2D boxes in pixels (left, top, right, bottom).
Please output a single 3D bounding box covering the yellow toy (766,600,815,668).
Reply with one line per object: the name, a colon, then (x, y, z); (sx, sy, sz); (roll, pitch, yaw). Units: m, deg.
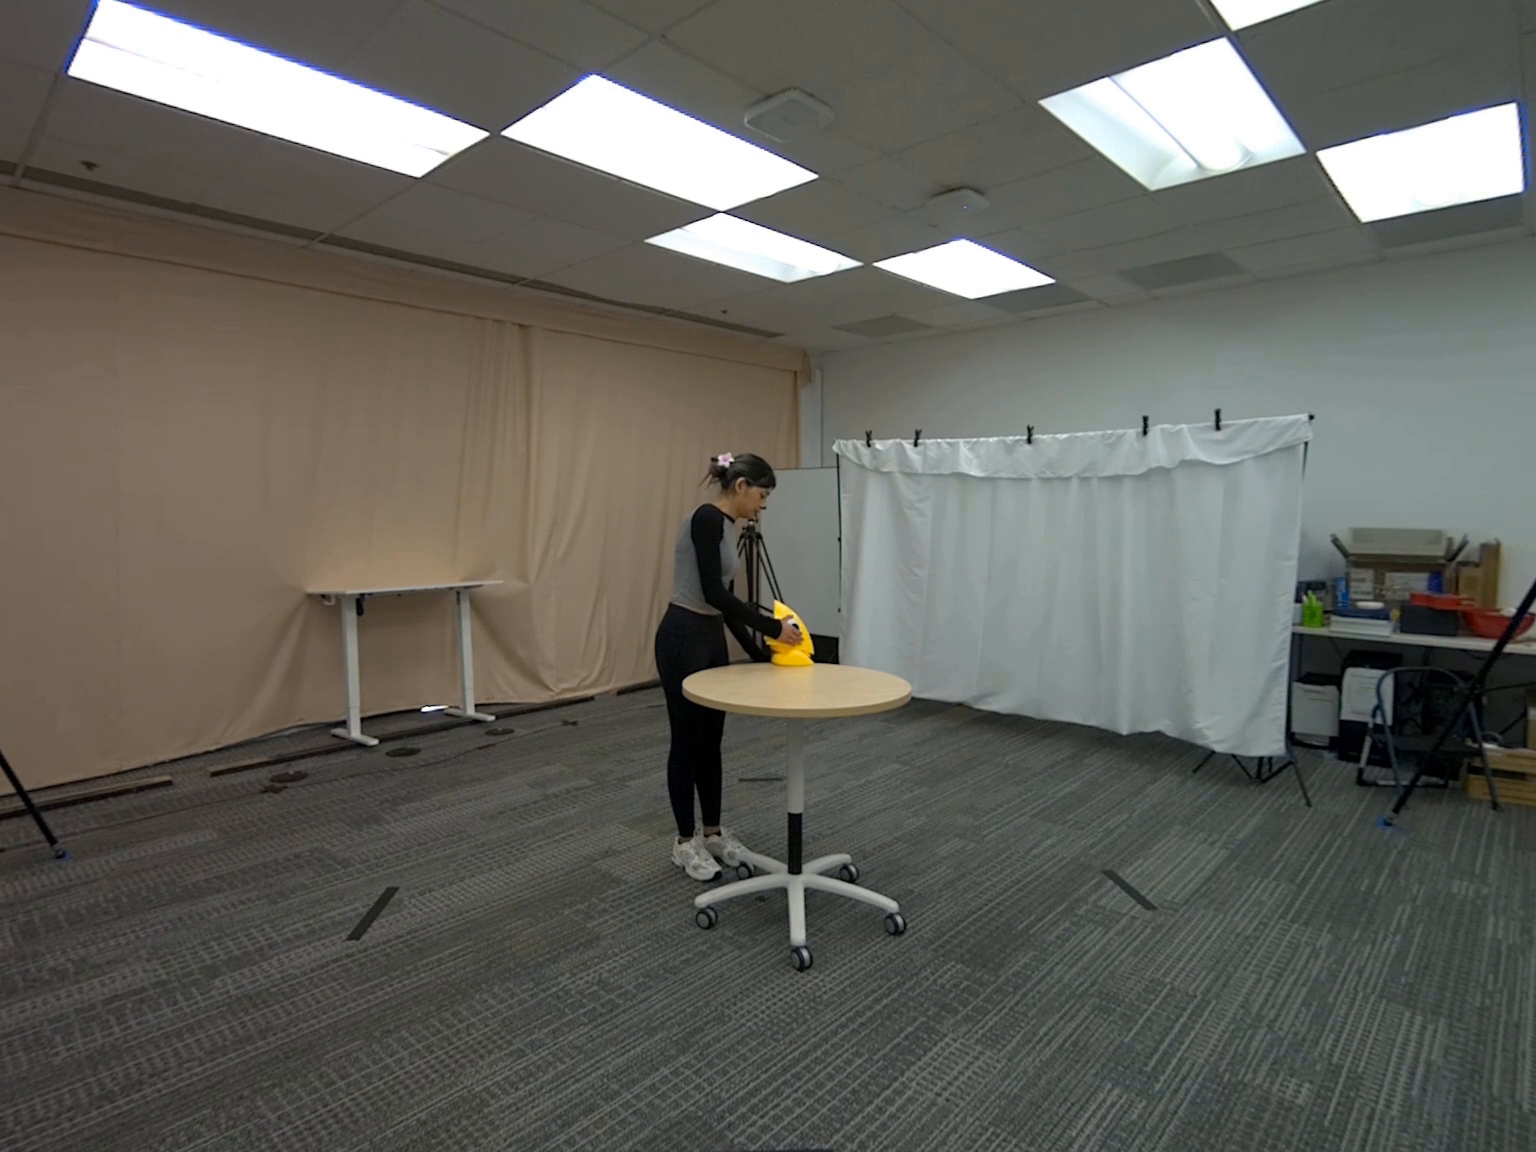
yellow toy: (0.084, 0.209, 3.235); (0.193, 0.230, 0.205); (1, 5, -1)
